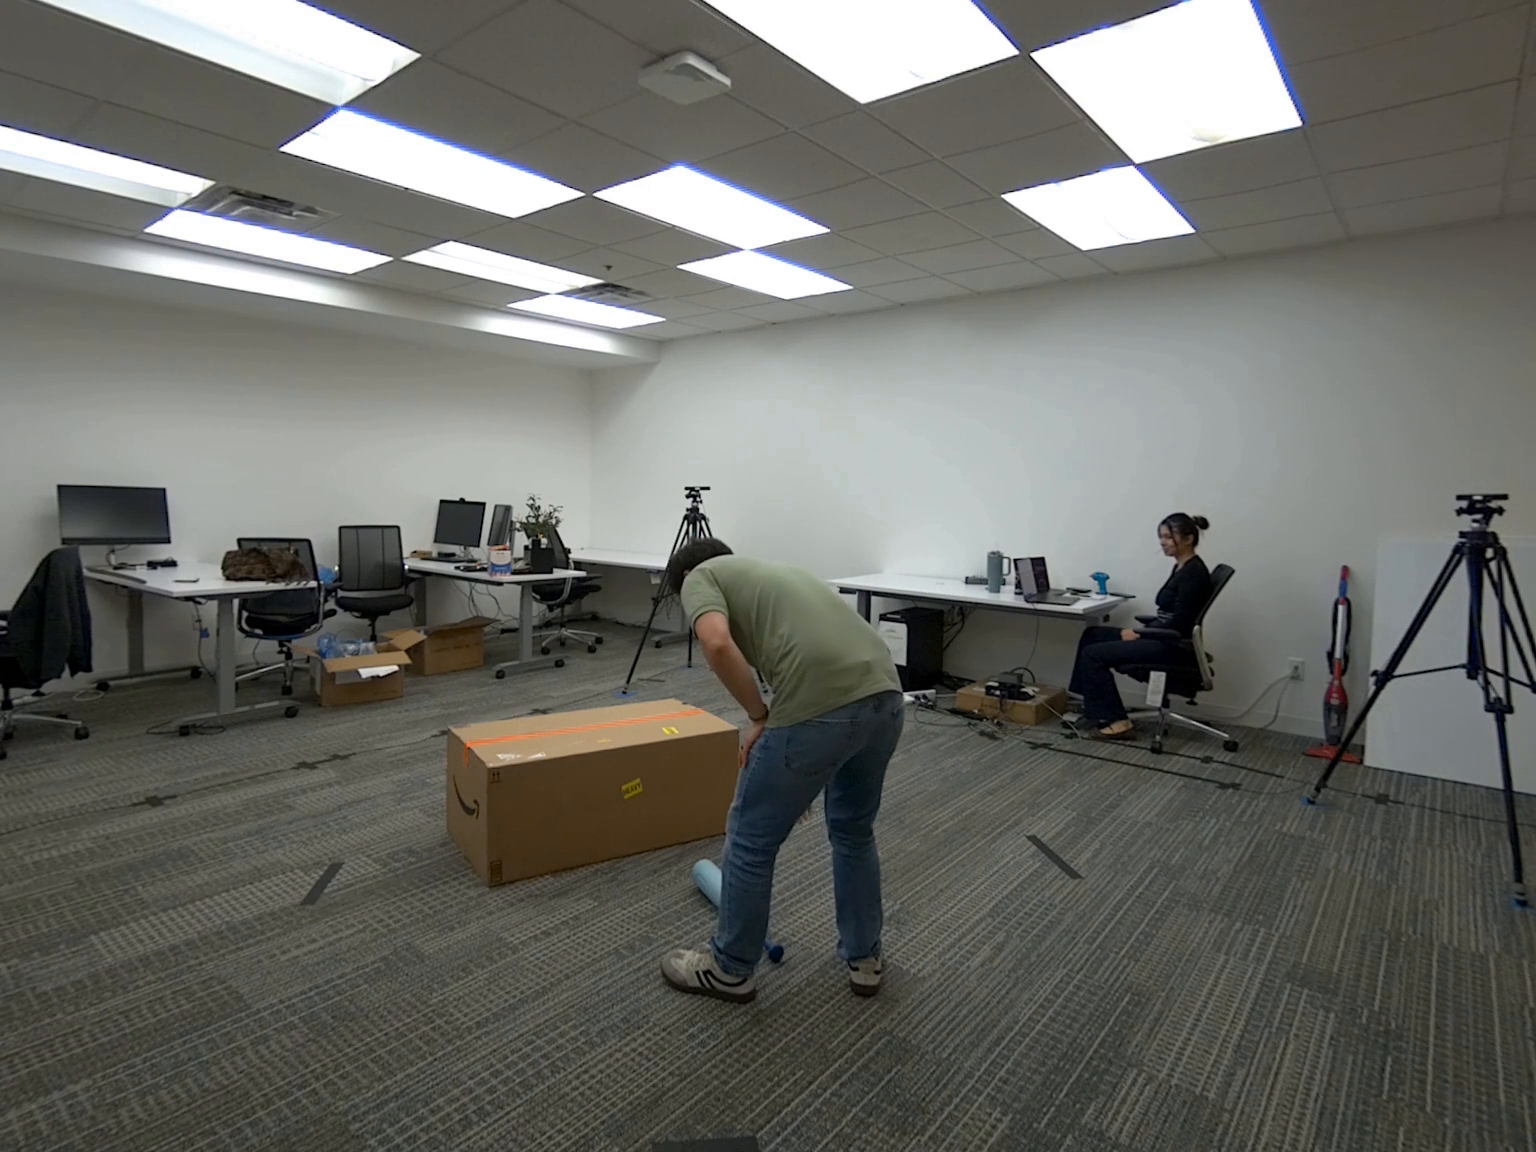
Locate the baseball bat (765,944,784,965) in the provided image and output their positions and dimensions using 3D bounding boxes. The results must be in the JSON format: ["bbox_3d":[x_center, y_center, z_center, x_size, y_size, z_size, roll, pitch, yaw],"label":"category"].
[{"bbox_3d":[-0.100,1.065,2.727,0.087,0.088,0.560,-2,9,-27],"label":"baseball bat"}]
